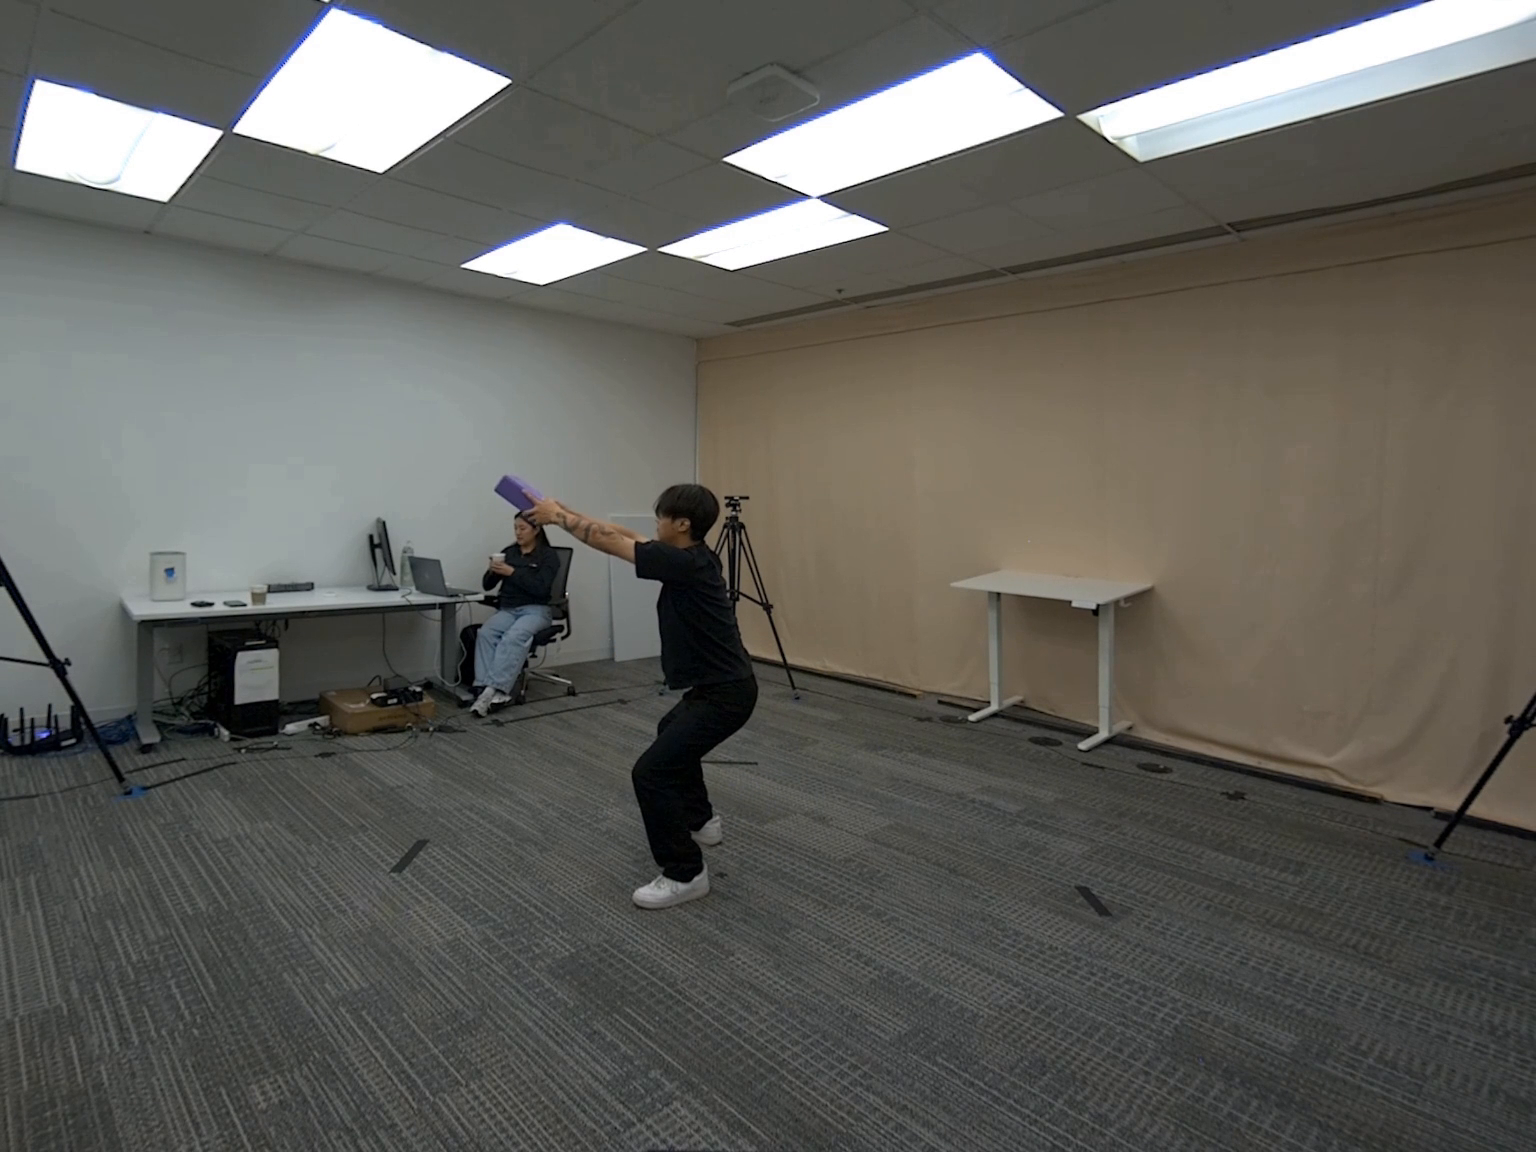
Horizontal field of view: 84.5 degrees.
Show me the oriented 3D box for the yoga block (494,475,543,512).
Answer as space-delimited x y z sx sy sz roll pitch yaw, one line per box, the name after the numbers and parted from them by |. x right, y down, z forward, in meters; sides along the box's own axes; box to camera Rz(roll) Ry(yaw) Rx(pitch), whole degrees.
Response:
-0.916 -0.297 3.205 0.228 0.076 0.150 38 3 -7 | yoga block
